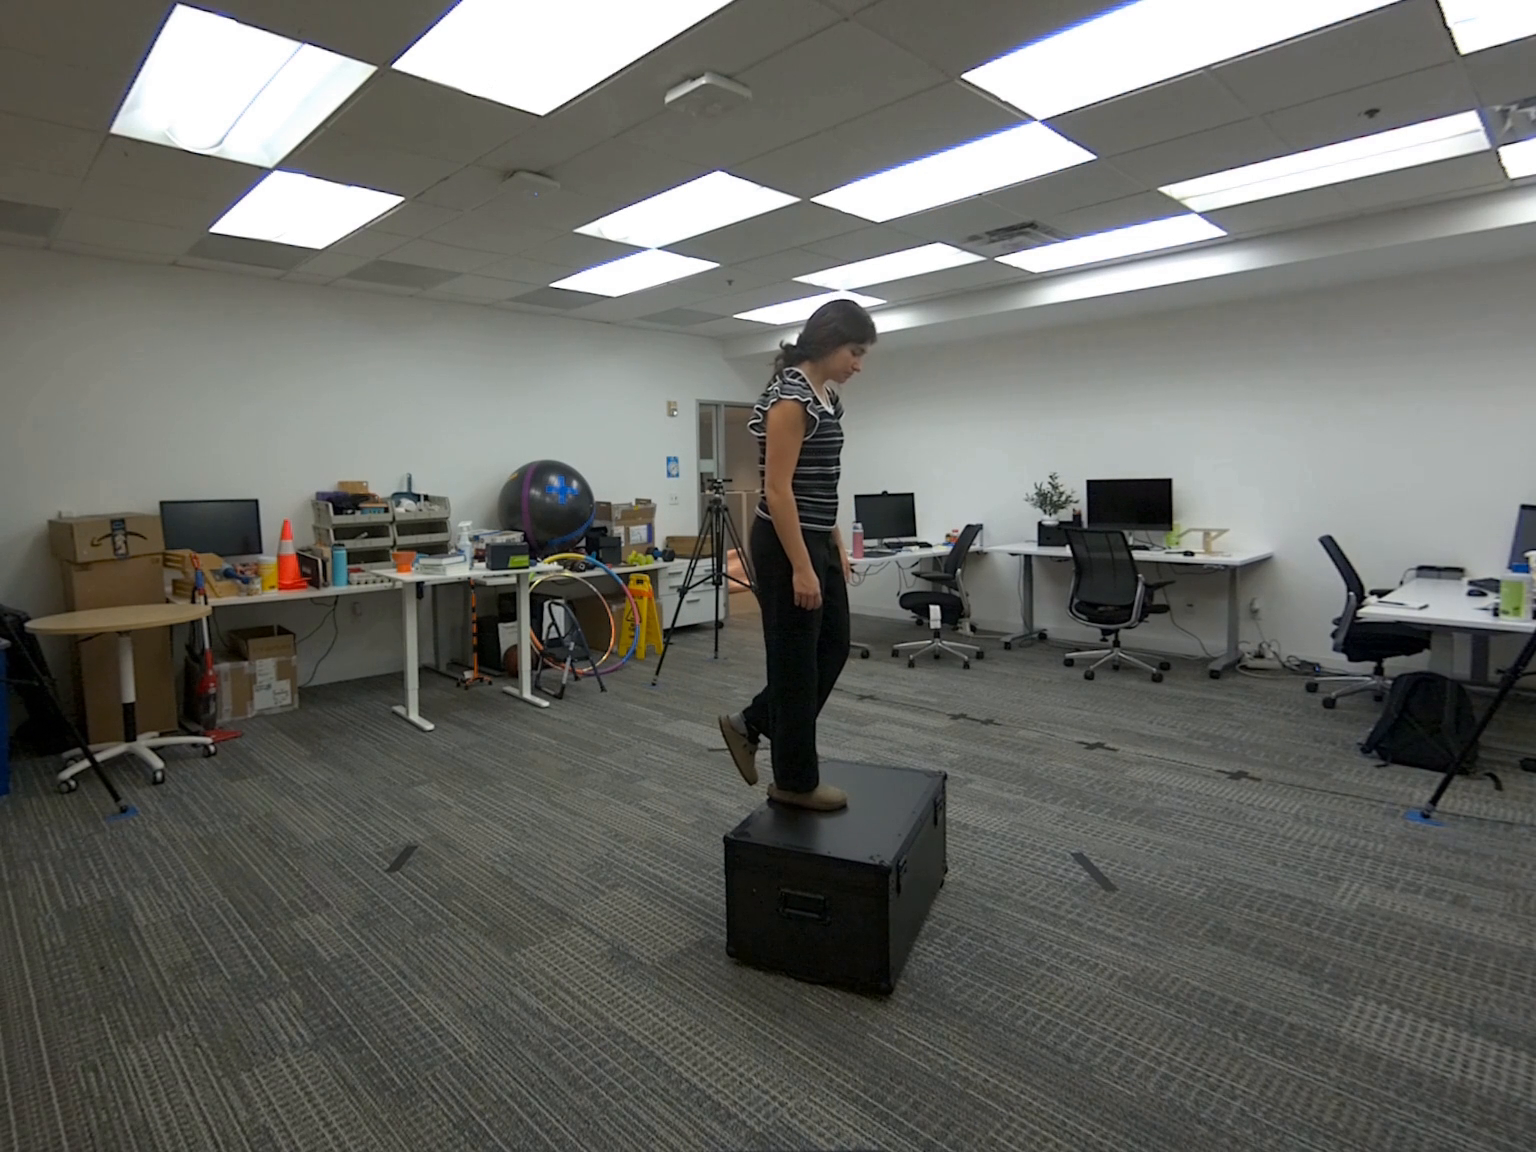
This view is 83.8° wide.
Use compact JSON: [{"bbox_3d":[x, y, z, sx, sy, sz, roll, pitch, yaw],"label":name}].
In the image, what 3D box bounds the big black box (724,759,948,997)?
[{"bbox_3d":[0.265,0.892,2.729,0.533,0.394,0.847,1,7,23],"label":"big black box"}]
